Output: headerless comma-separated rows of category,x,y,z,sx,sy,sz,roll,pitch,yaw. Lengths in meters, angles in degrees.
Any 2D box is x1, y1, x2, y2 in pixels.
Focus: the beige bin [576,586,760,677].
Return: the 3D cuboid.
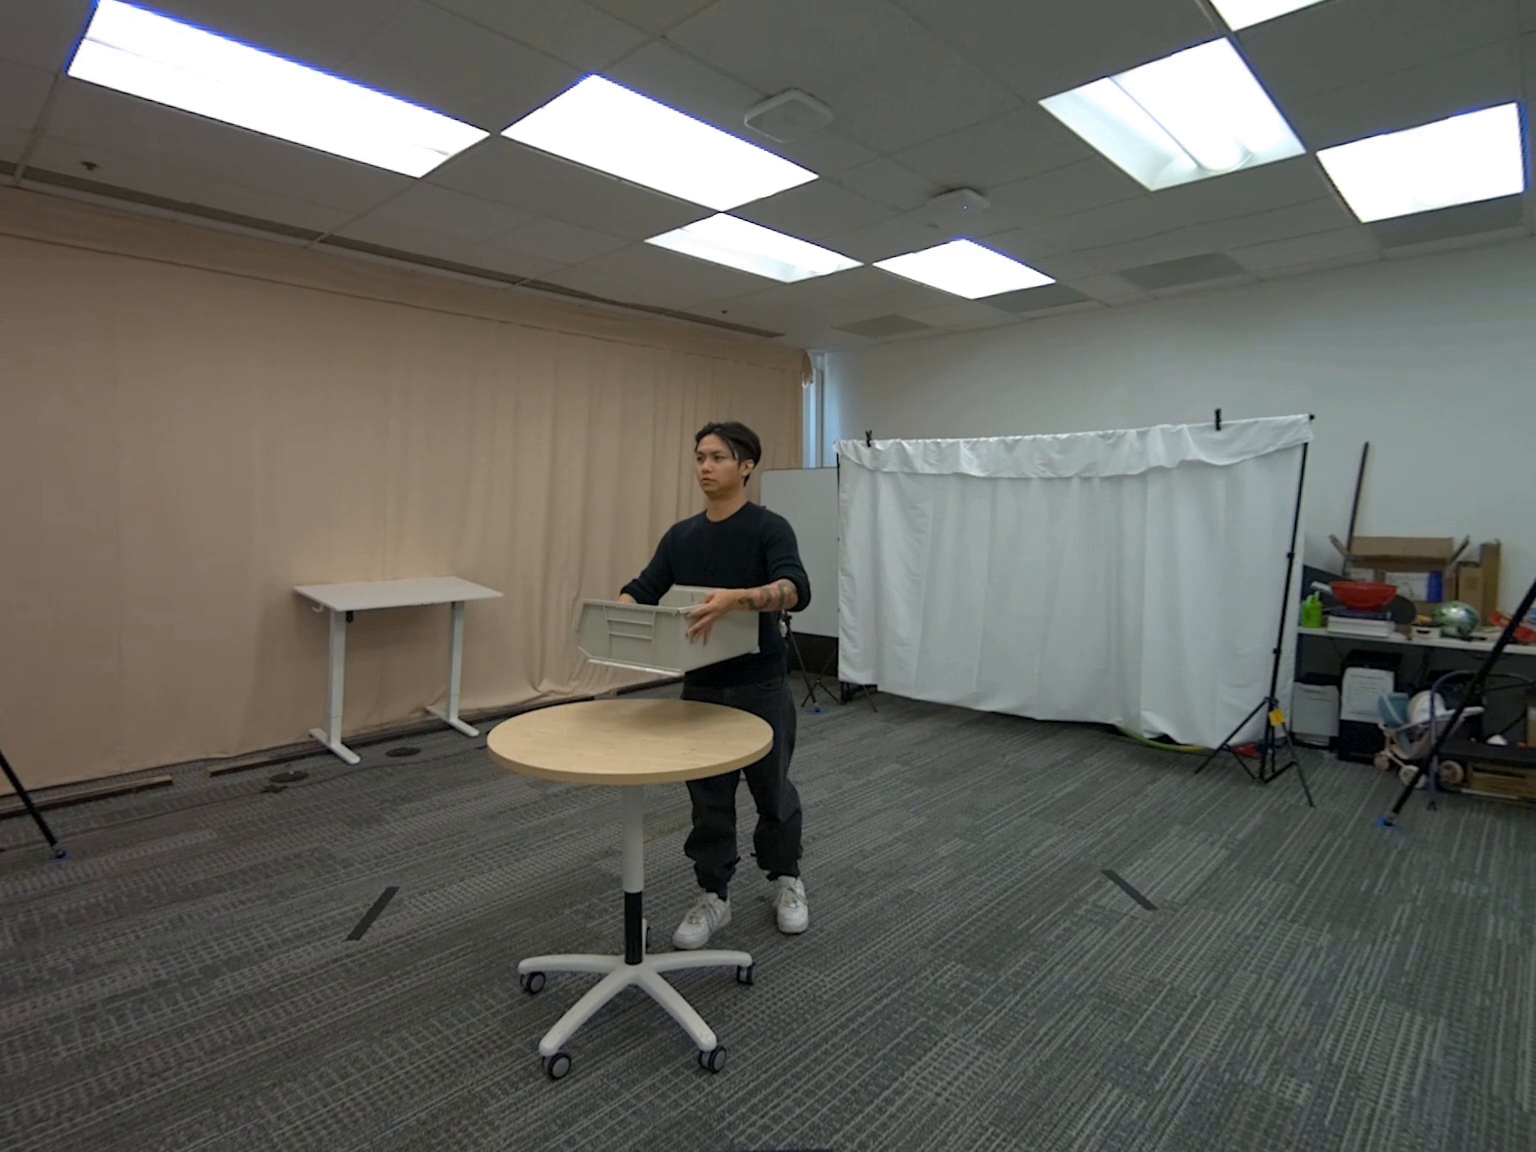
beige bin,-0.276,0.142,2.433,0.389,0.188,0.411,5,6,31
